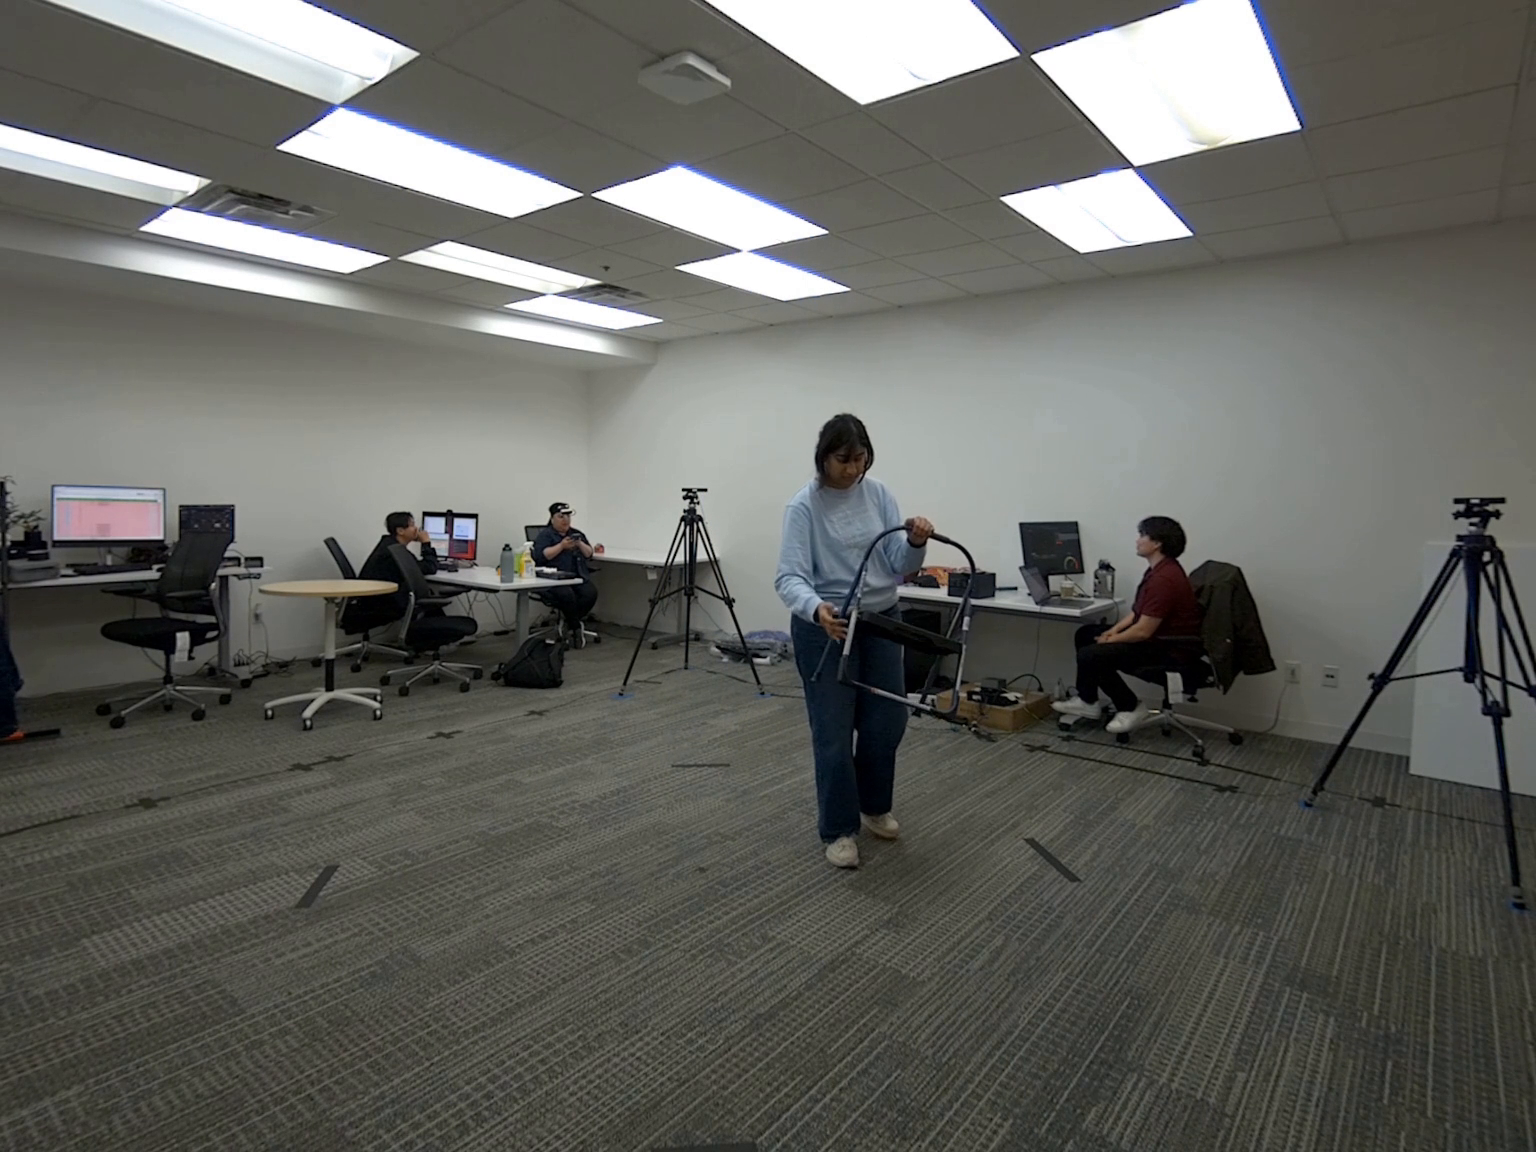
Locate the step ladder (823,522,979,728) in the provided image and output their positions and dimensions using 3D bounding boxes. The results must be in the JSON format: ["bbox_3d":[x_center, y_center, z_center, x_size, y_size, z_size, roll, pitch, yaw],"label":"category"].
[{"bbox_3d":[0.477,0.135,2.982,0.427,0.610,0.350,18,-10,-7],"label":"step ladder"}]
